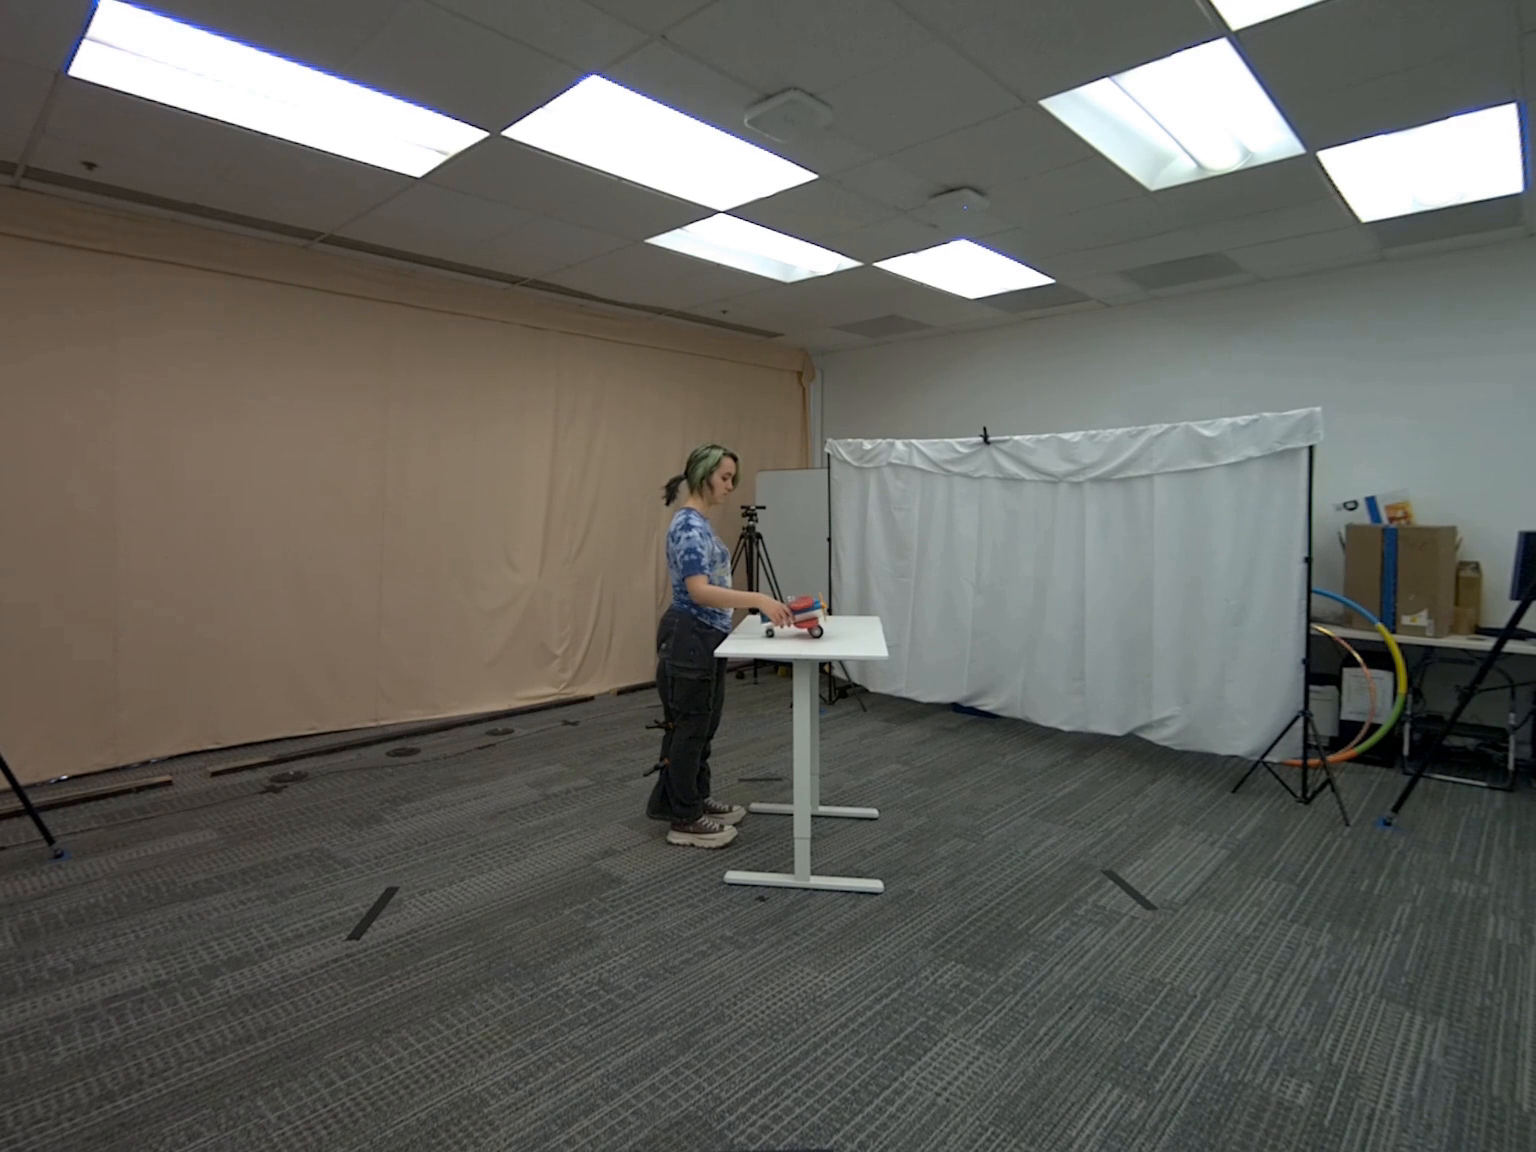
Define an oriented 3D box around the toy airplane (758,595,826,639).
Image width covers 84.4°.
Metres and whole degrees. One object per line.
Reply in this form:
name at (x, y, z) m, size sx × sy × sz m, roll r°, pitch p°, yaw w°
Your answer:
toy airplane at (0.100, 0.163, 3.262) m, size 0.253 × 0.156 × 0.258 m, roll -2°, pitch 5°, yaw -27°
